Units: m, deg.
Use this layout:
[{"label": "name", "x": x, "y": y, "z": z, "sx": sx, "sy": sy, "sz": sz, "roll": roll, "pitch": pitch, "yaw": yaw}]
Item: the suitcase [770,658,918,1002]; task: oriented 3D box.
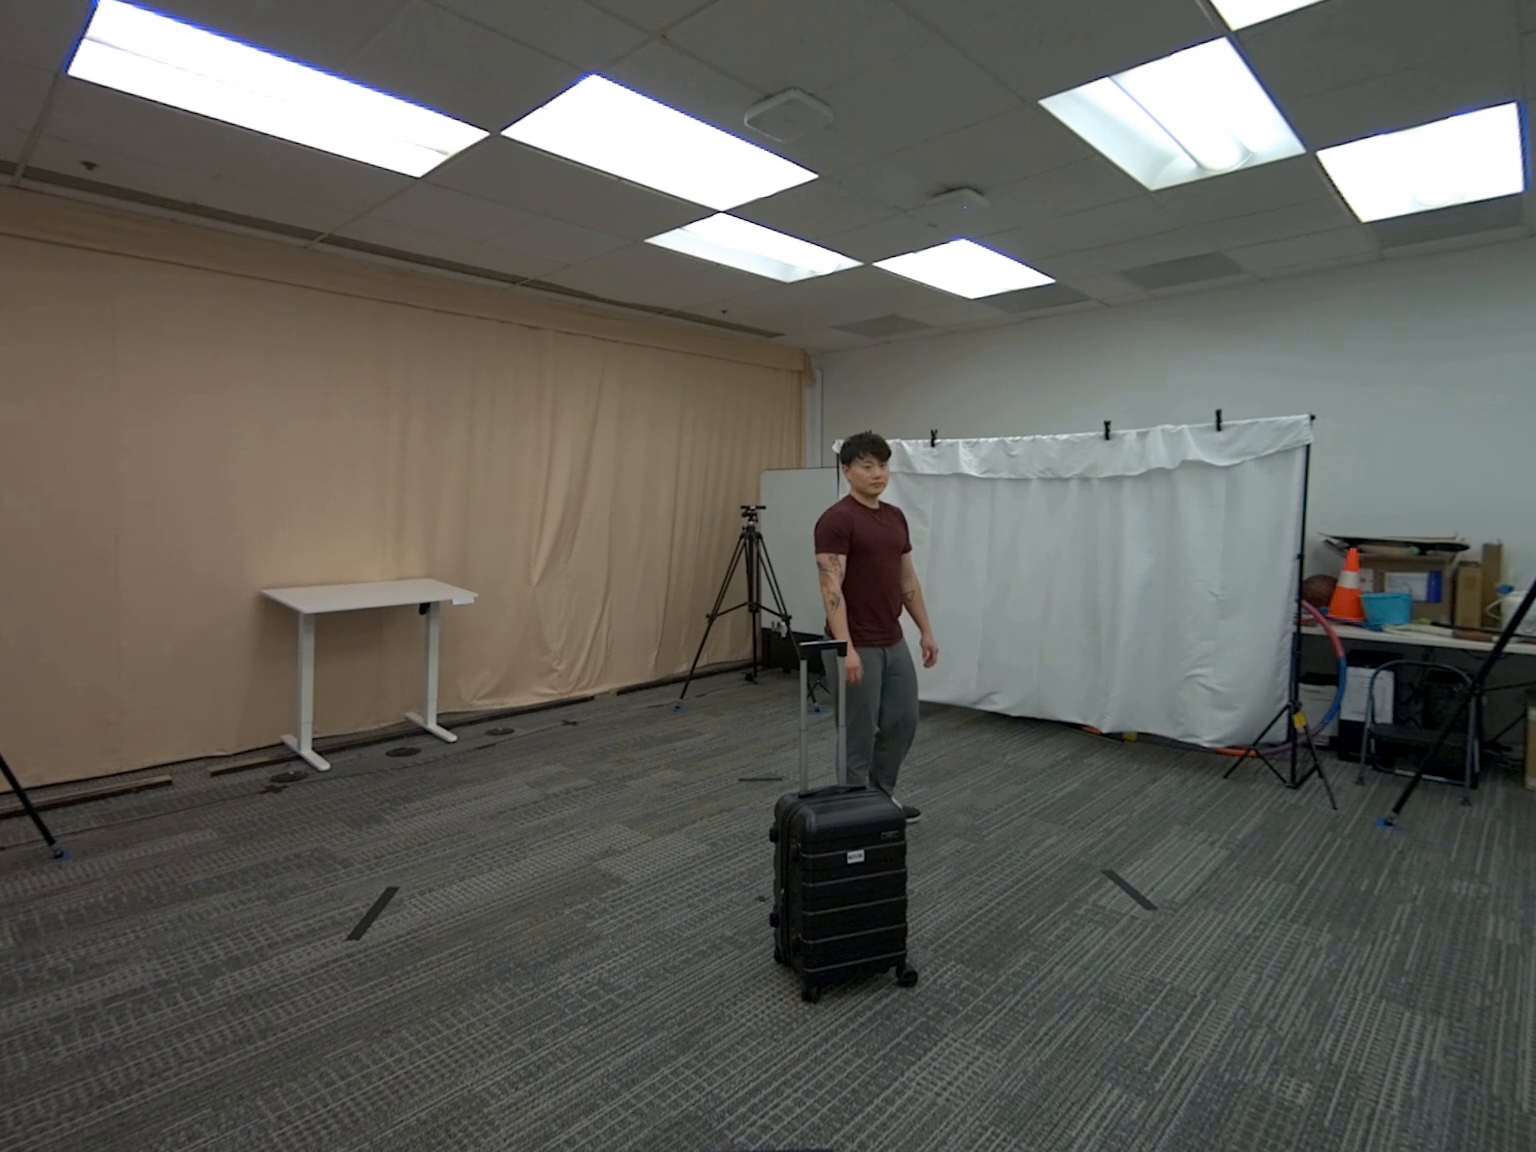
[{"label": "suitcase", "x": 0.219, "y": 0.710, "z": 2.469, "sx": 0.378, "sy": 0.975, "sz": 0.262, "roll": -2, "pitch": 6, "yaw": -17}]
